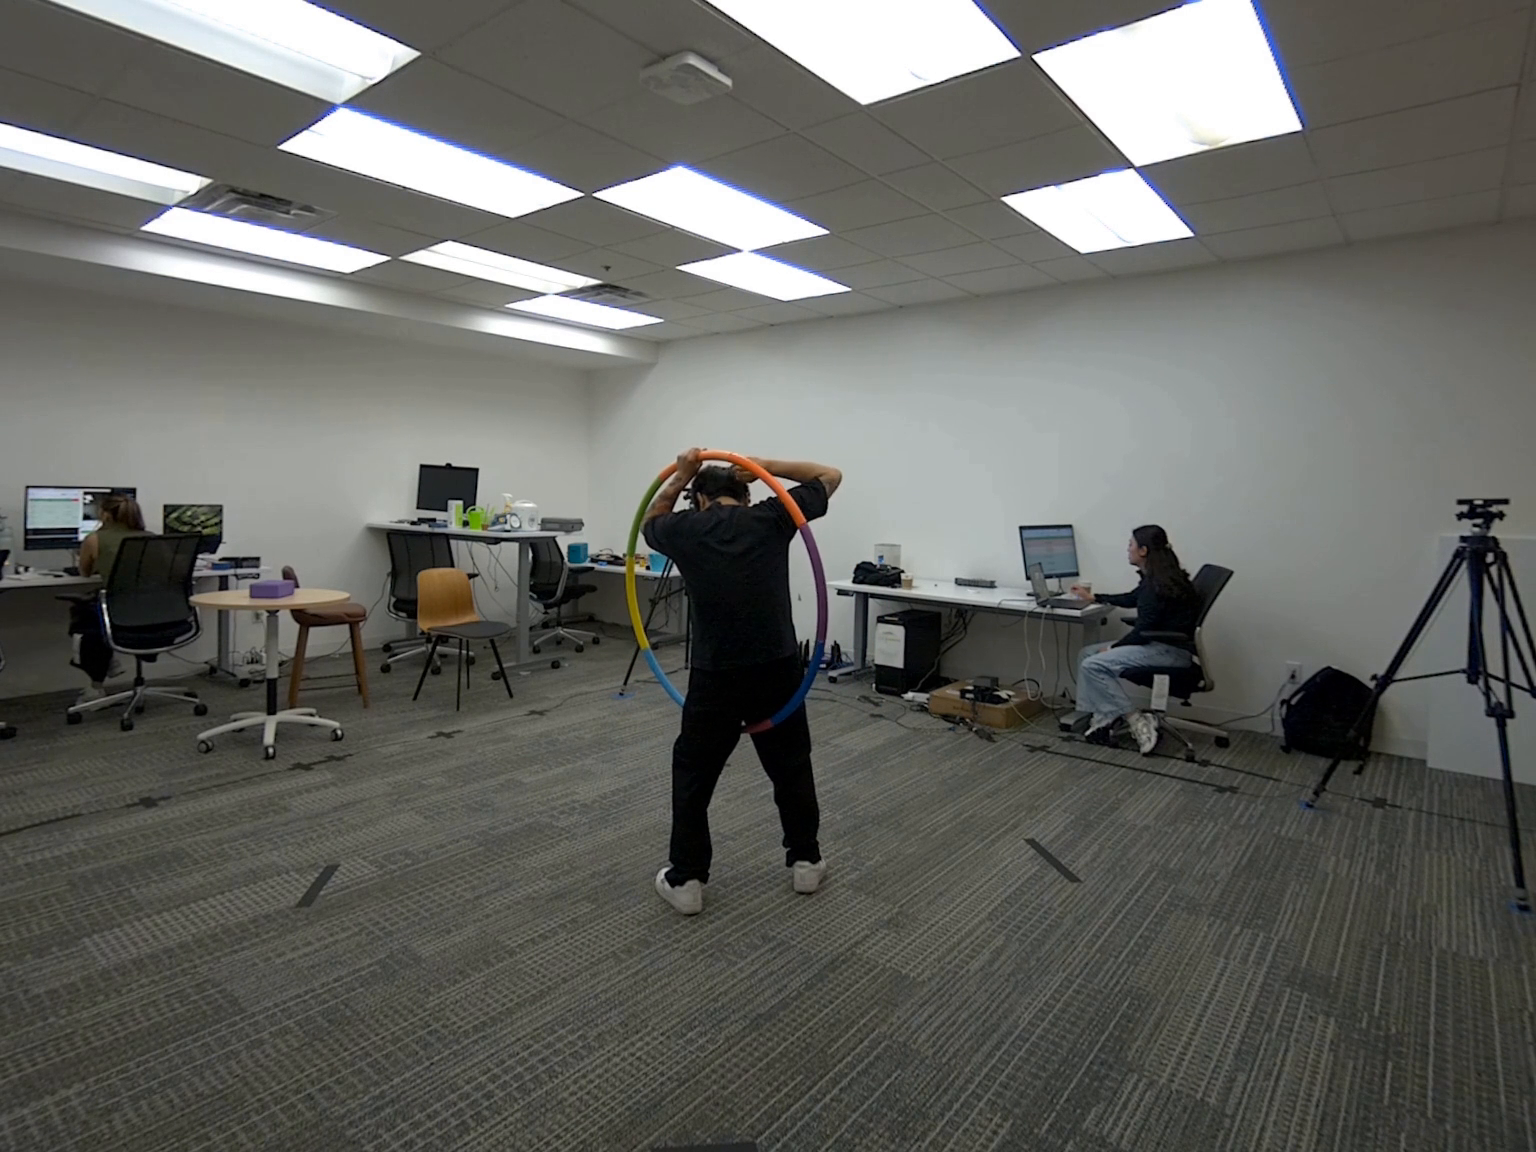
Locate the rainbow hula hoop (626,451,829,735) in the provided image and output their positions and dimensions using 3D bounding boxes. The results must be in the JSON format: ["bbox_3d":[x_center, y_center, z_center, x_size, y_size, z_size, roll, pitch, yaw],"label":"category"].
[{"bbox_3d":[-0.199,0.049,2.979,1.012,0.972,0.034,5,10,43],"label":"rainbow hula hoop"}]
